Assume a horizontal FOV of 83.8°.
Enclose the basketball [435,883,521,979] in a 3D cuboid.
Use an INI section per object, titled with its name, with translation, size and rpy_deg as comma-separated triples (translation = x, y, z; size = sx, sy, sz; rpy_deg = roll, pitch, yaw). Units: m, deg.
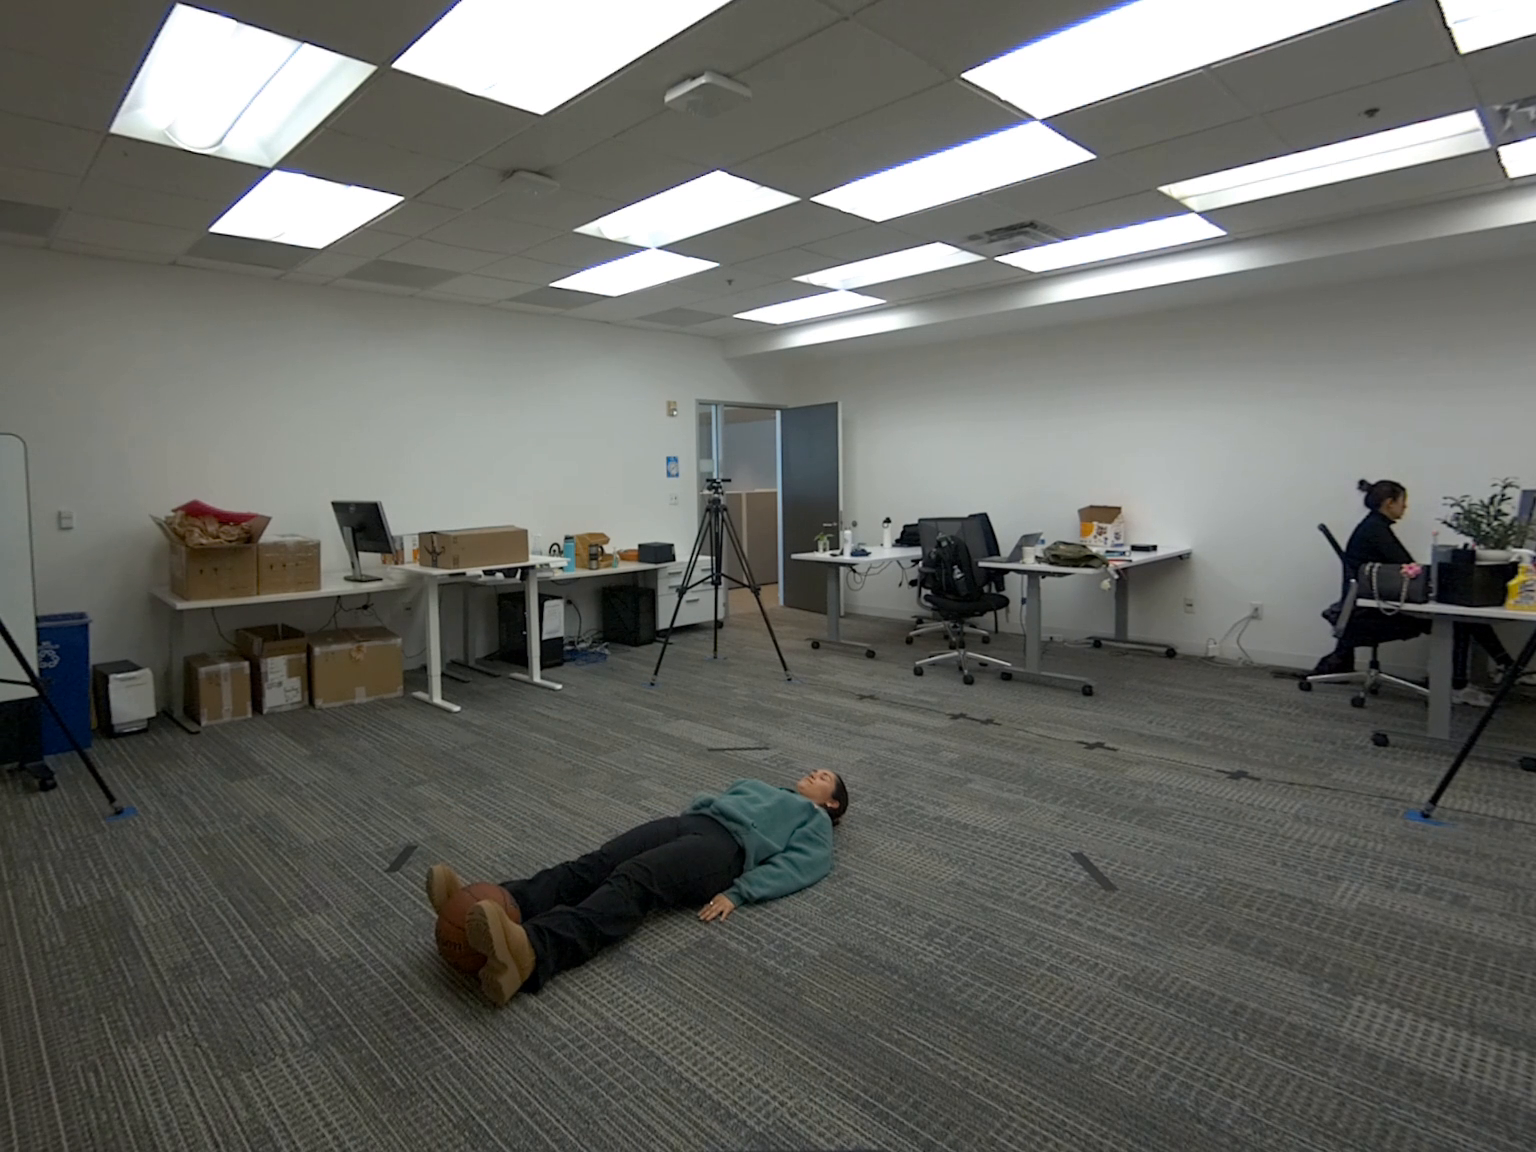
[basketball]
translation = -0.815, 0.997, 2.422
size = 0.236, 0.235, 0.237
rpy_deg = -1, 4, -2
